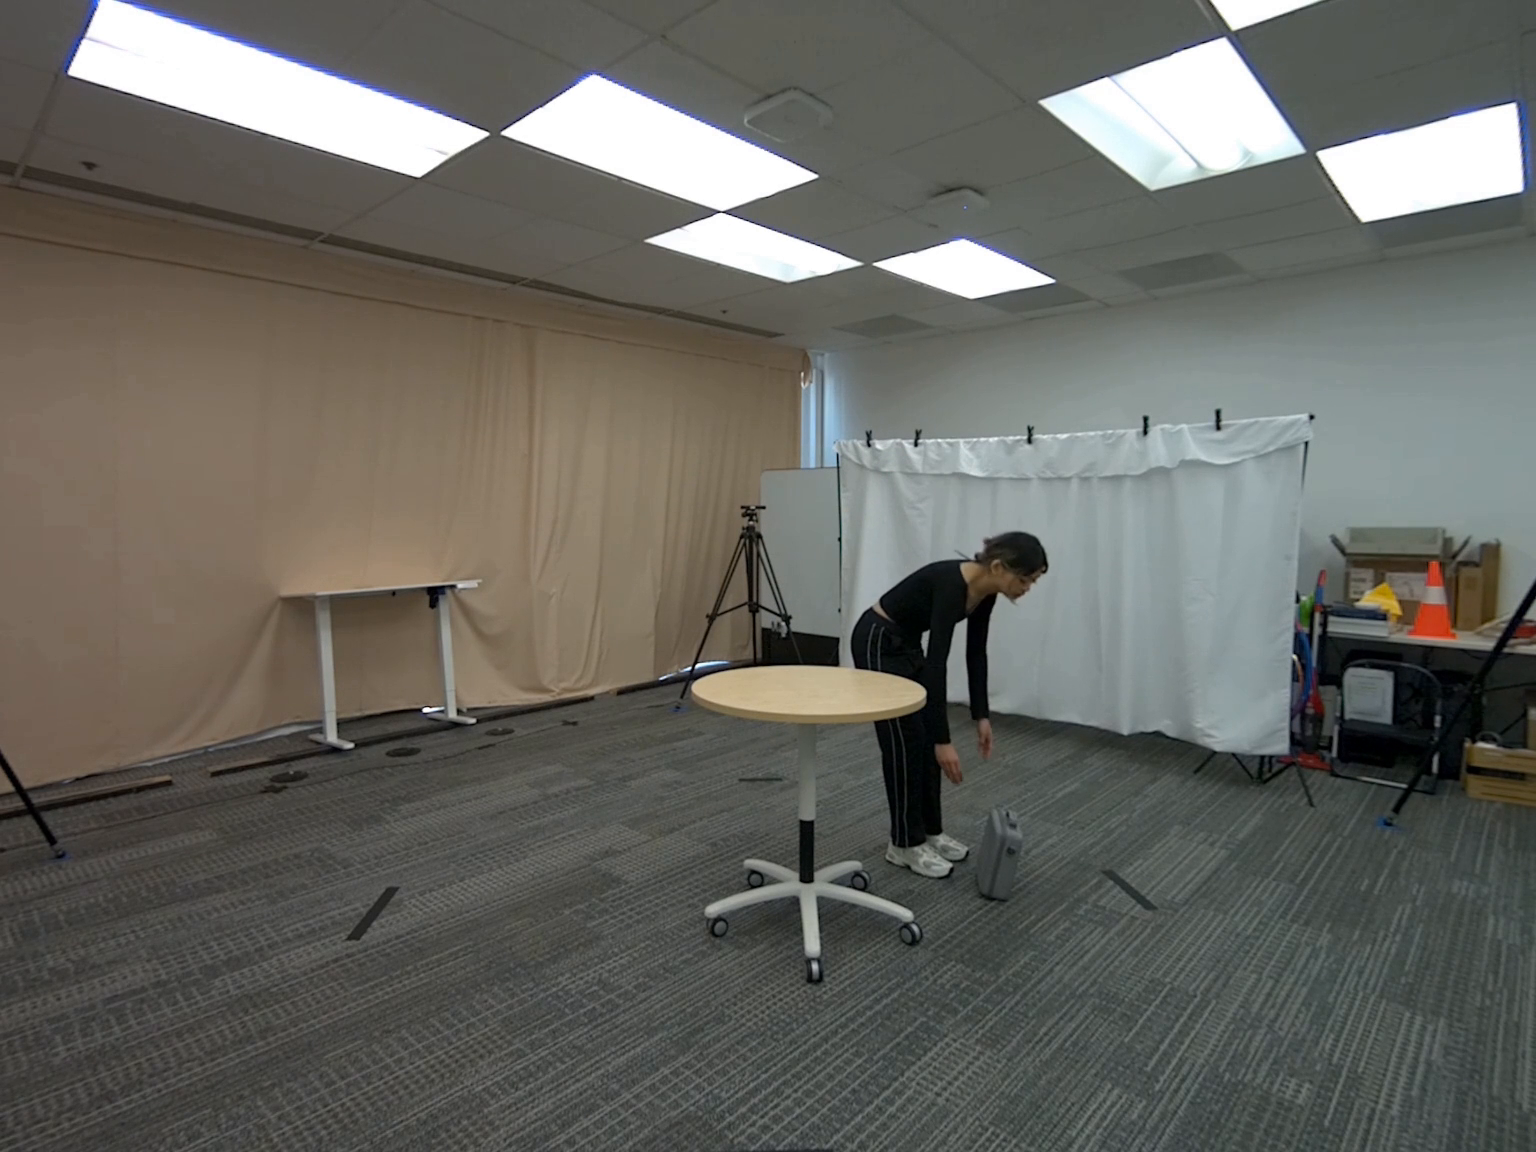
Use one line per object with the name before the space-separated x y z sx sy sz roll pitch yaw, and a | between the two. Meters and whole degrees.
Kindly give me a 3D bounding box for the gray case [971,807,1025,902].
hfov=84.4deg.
gray case | 0.839 1.003 3.061 0.106 0.260 0.254 11 7 10
